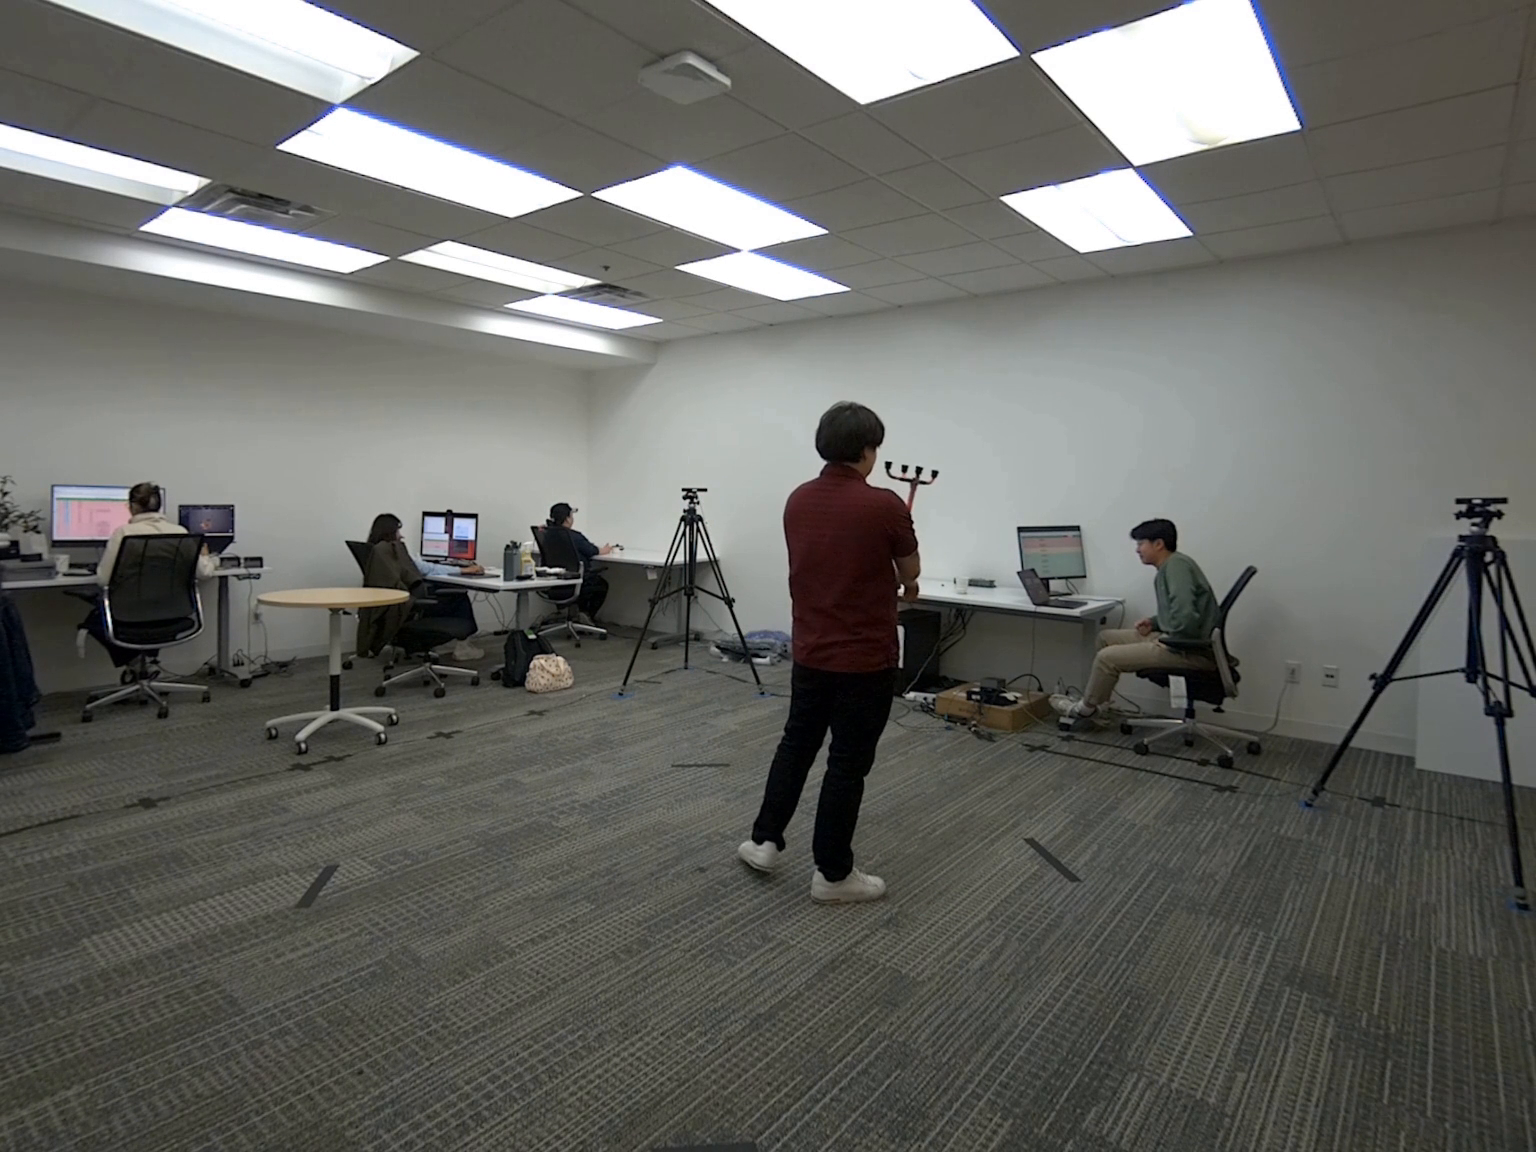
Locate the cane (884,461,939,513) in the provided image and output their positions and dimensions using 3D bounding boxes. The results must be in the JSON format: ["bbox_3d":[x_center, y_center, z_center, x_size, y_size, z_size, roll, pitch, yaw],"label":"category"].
[{"bbox_3d":[0.463,0.022,3.270,0.157,0.904,0.201,11,6,31],"label":"cane"}]
